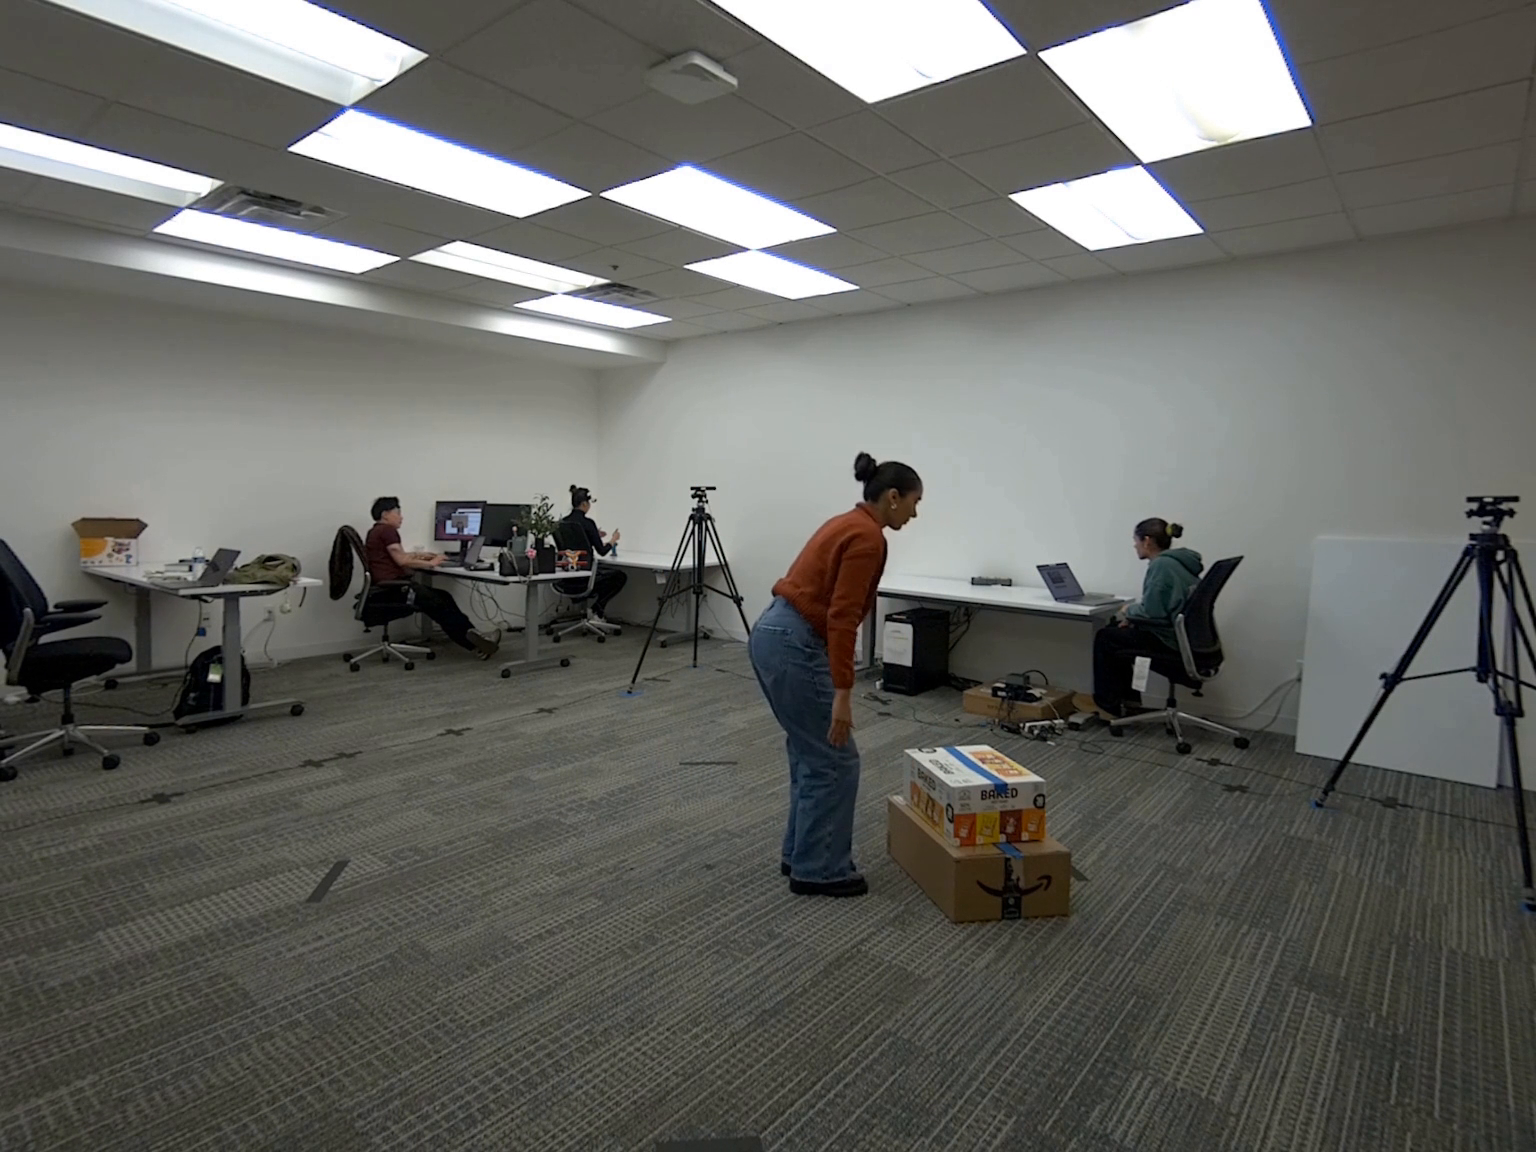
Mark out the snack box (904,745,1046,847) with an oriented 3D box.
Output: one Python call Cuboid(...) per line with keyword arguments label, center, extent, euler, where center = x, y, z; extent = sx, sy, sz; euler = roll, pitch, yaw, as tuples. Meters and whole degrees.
Cuboid(label="snack box", center=(0.724, 0.775, 3.045), extent=(0.336, 0.205, 0.412), euler=(-1, 6, -13))
